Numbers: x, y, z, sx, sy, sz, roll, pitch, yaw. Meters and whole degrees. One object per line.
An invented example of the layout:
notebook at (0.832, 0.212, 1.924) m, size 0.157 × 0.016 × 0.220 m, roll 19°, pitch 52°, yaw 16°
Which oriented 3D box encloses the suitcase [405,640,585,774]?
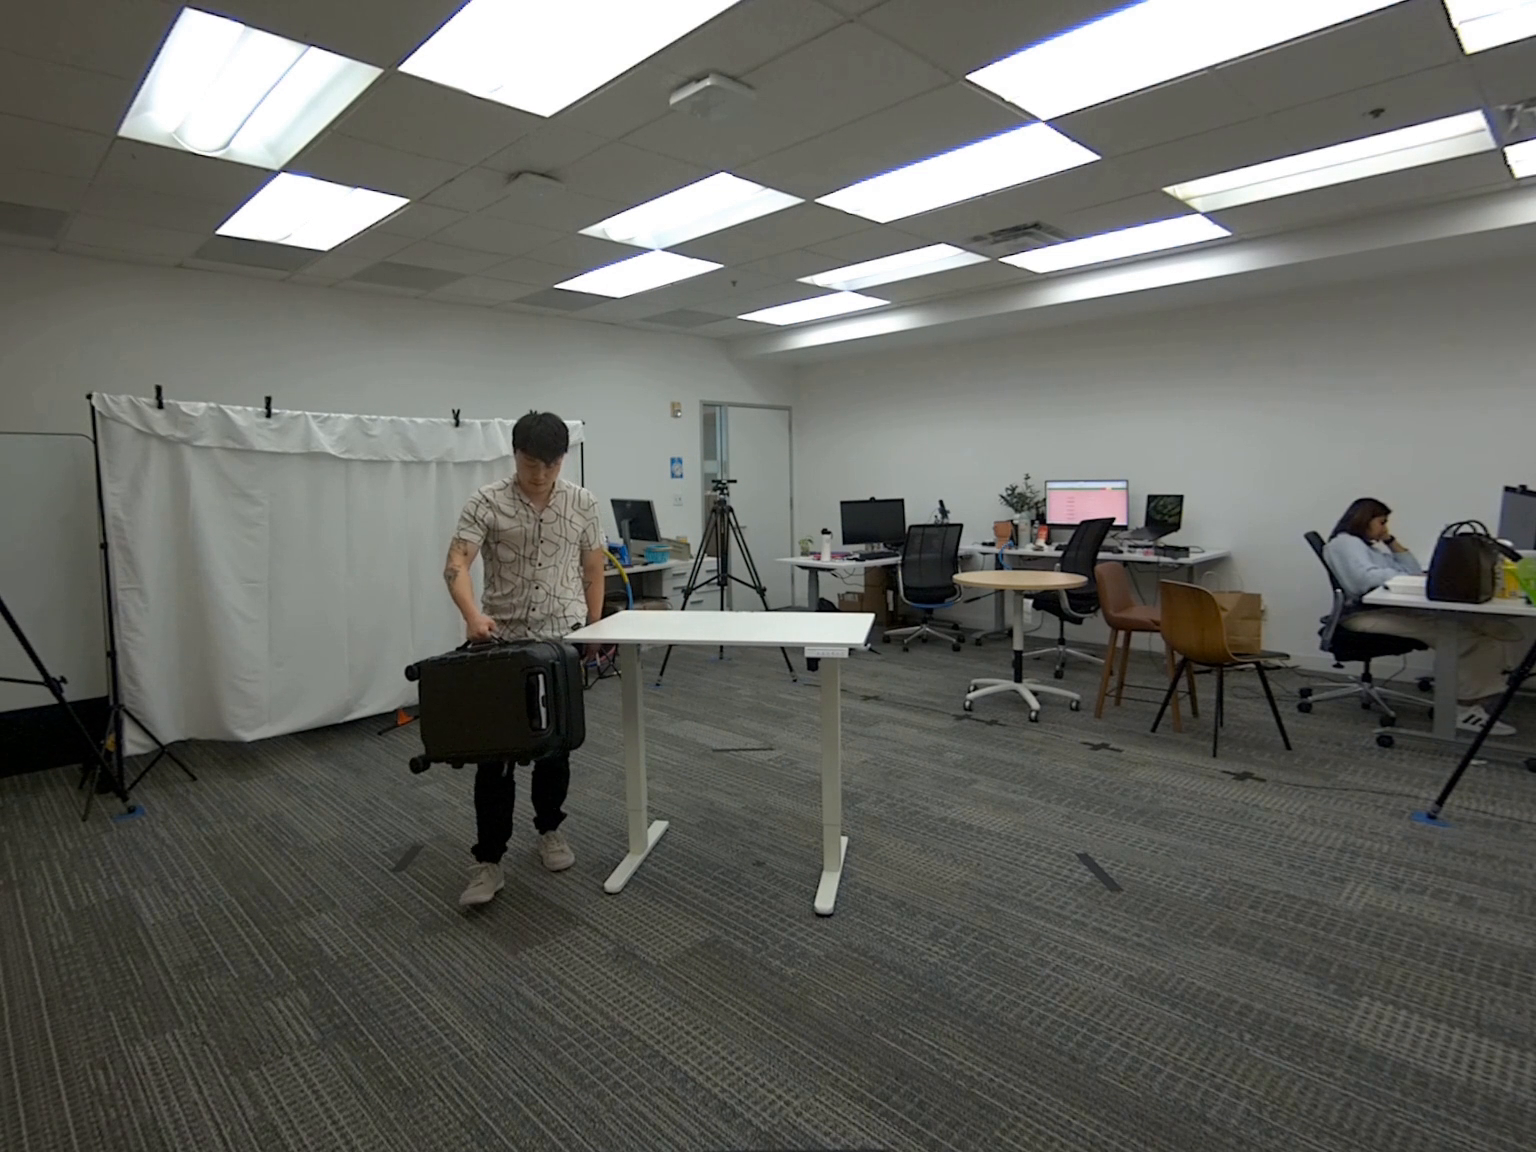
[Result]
suitcase at (-0.865, 0.409, 2.728) m, size 0.559 × 0.379 × 0.242 m, roll -10°, pitch -8°, yaw 23°
